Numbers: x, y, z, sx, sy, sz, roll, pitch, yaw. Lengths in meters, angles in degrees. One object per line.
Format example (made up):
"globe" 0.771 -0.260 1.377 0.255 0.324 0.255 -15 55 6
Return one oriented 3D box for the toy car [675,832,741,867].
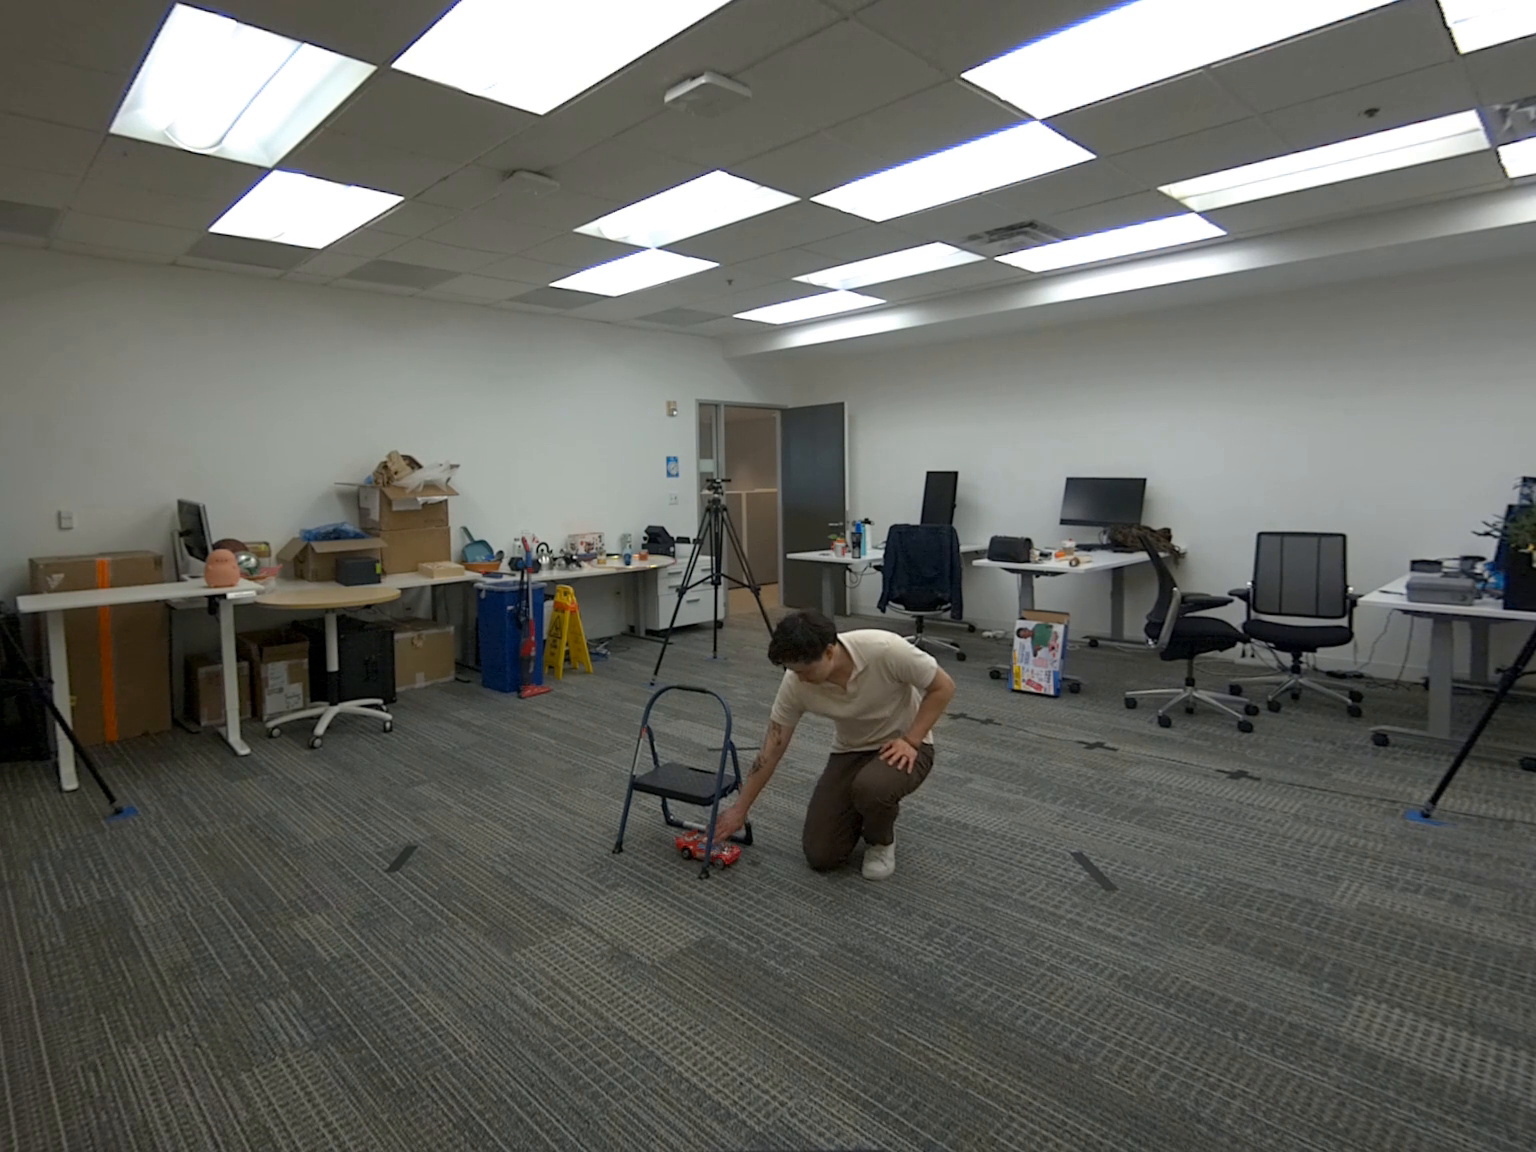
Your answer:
"toy car" -0.228 1.009 3.159 0.262 0.082 0.127 16 14 30
